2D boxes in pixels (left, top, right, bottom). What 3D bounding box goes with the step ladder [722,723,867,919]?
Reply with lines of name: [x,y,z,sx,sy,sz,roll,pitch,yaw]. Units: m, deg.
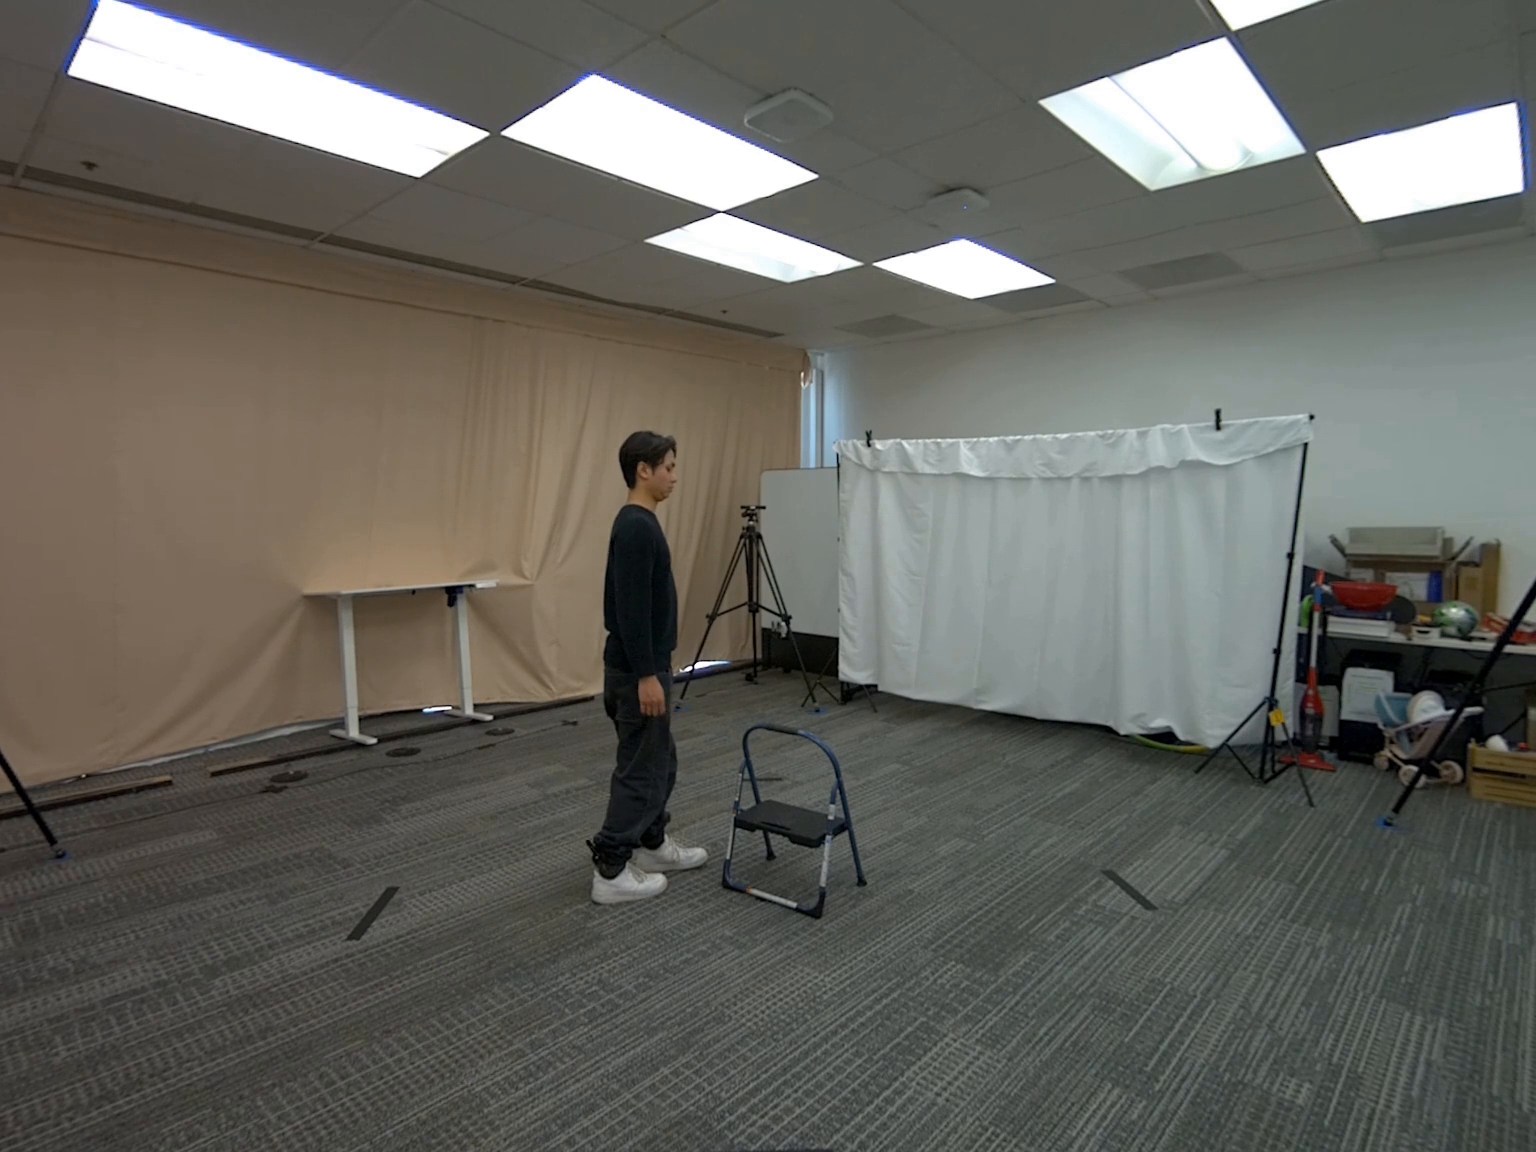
step ladder: [0.097,0.833,3.071,0.444,0.605,0.339,2,3,34]
